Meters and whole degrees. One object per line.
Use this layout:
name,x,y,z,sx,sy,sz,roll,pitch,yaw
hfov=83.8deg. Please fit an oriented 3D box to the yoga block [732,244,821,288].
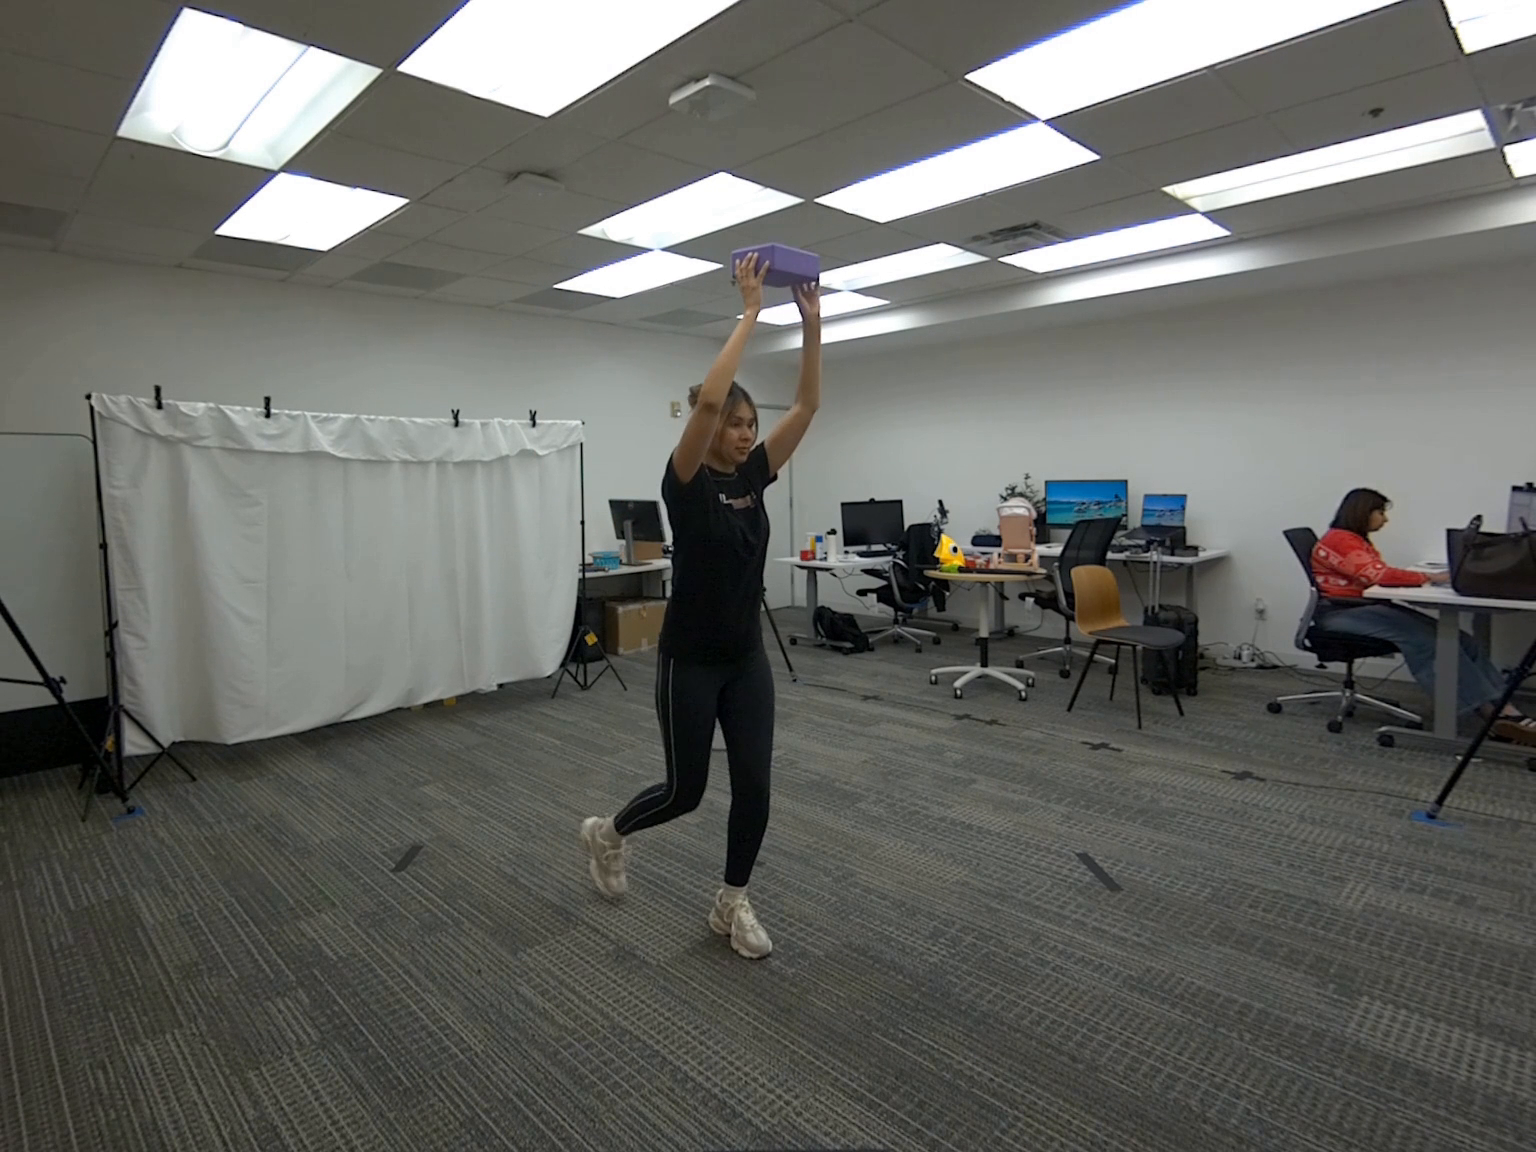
yoga block,0.028,-0.852,2.367,0.153,0.076,0.224,6,12,38
